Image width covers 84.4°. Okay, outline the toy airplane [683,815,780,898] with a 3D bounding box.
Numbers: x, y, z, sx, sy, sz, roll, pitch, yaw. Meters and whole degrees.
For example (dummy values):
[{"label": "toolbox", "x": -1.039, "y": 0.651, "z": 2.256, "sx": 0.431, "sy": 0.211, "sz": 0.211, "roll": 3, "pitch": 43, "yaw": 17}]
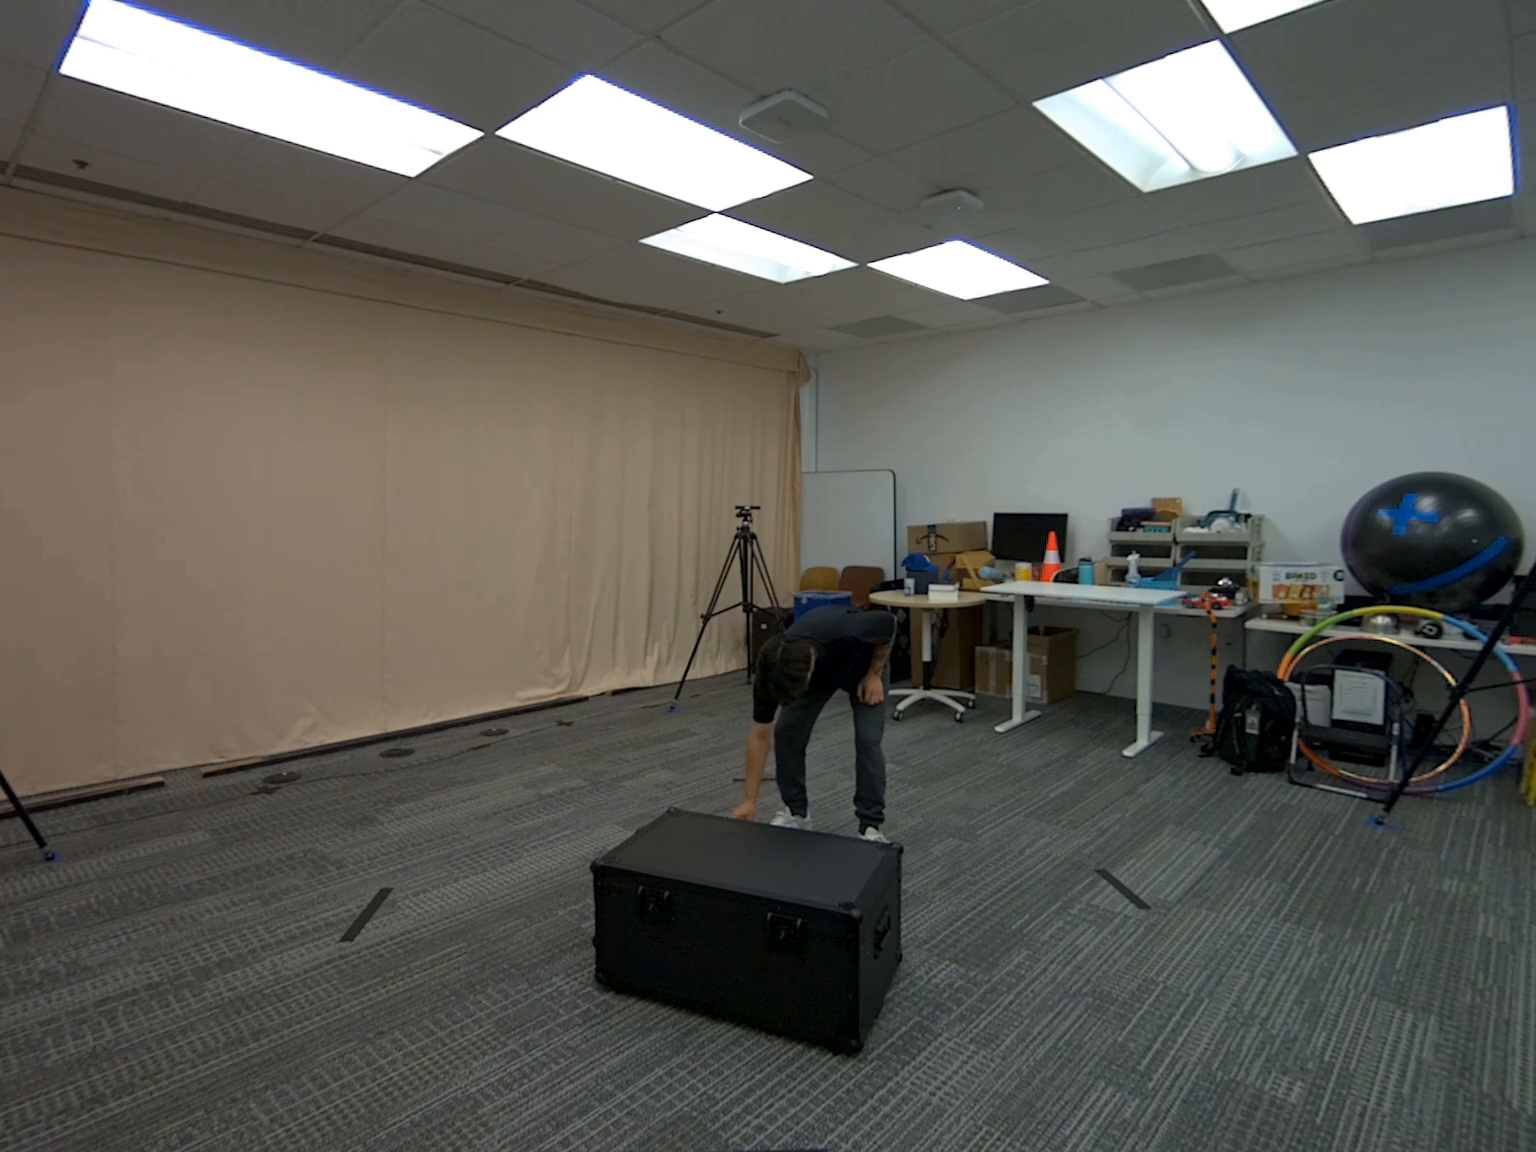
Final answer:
[{"label": "toy airplane", "x": -0.141, "y": 1.047, "z": 3.194, "sx": 0.268, "sy": 0.156, "sz": 0.243, "roll": 5, "pitch": 7, "yaw": 44}]
